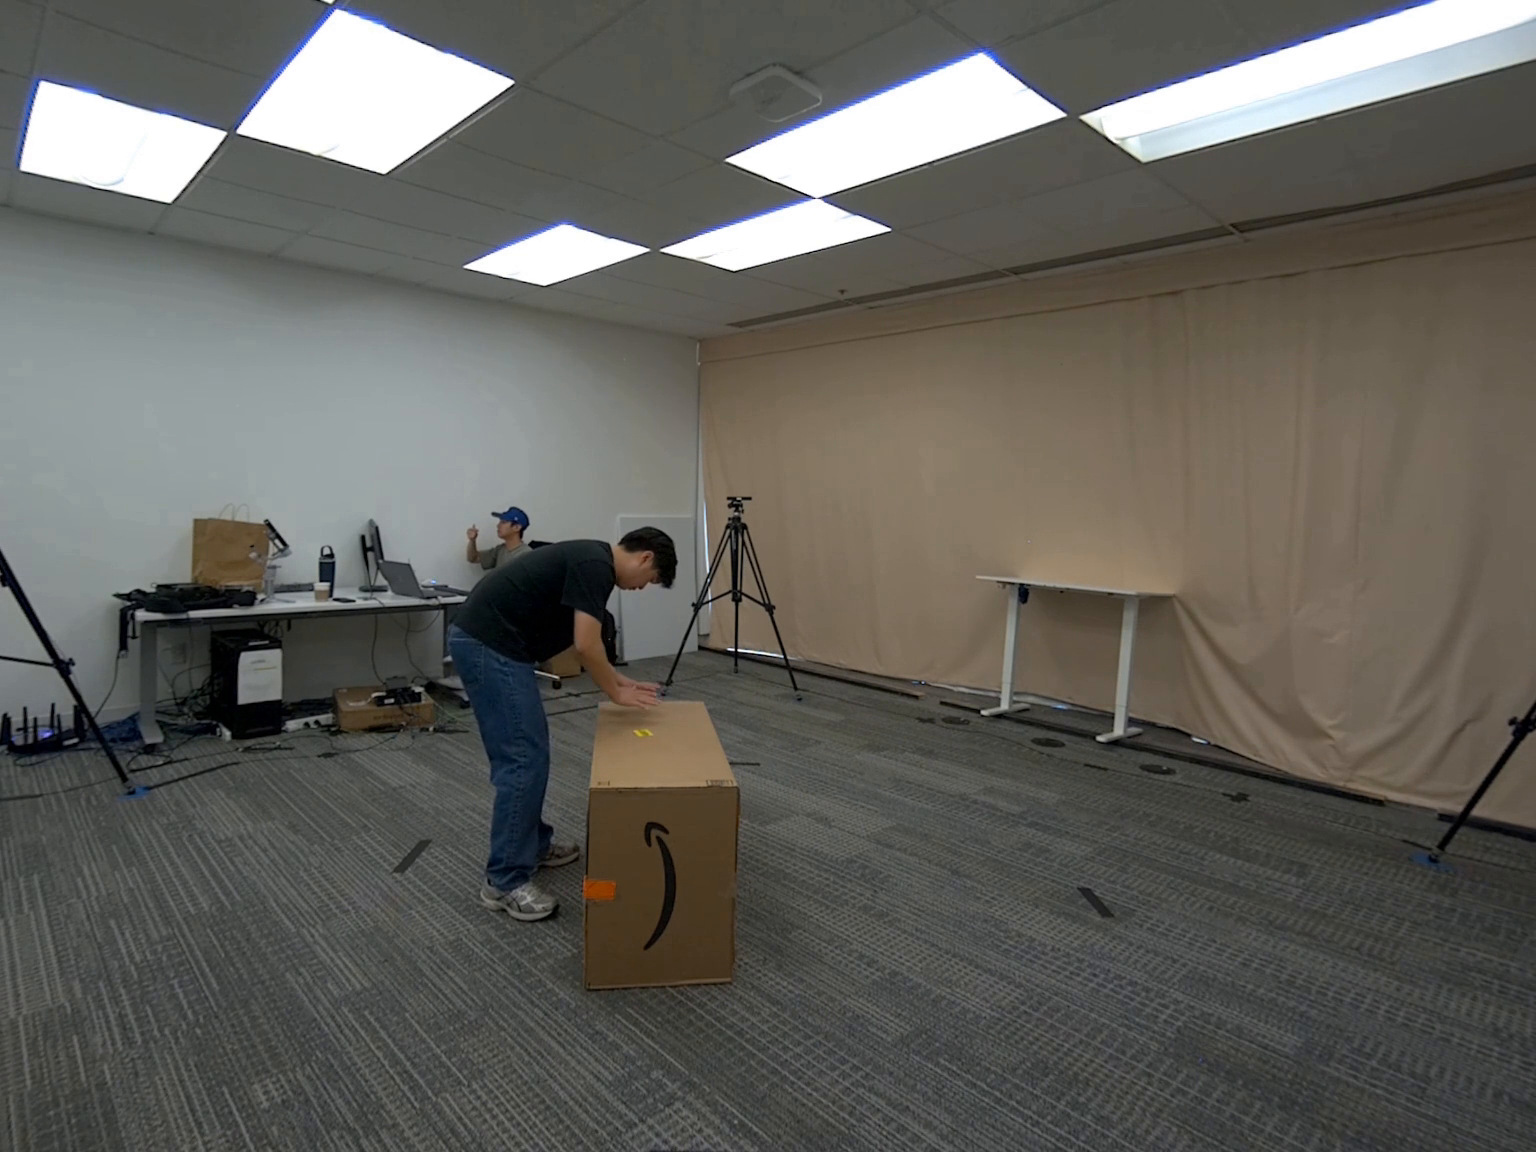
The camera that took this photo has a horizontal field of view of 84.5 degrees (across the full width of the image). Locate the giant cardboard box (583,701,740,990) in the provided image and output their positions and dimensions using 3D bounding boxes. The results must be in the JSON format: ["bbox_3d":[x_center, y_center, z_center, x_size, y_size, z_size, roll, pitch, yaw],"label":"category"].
[{"bbox_3d":[-0.390,0.835,2.878,0.443,0.582,1.037,0,4,-10],"label":"giant cardboard box"}]
